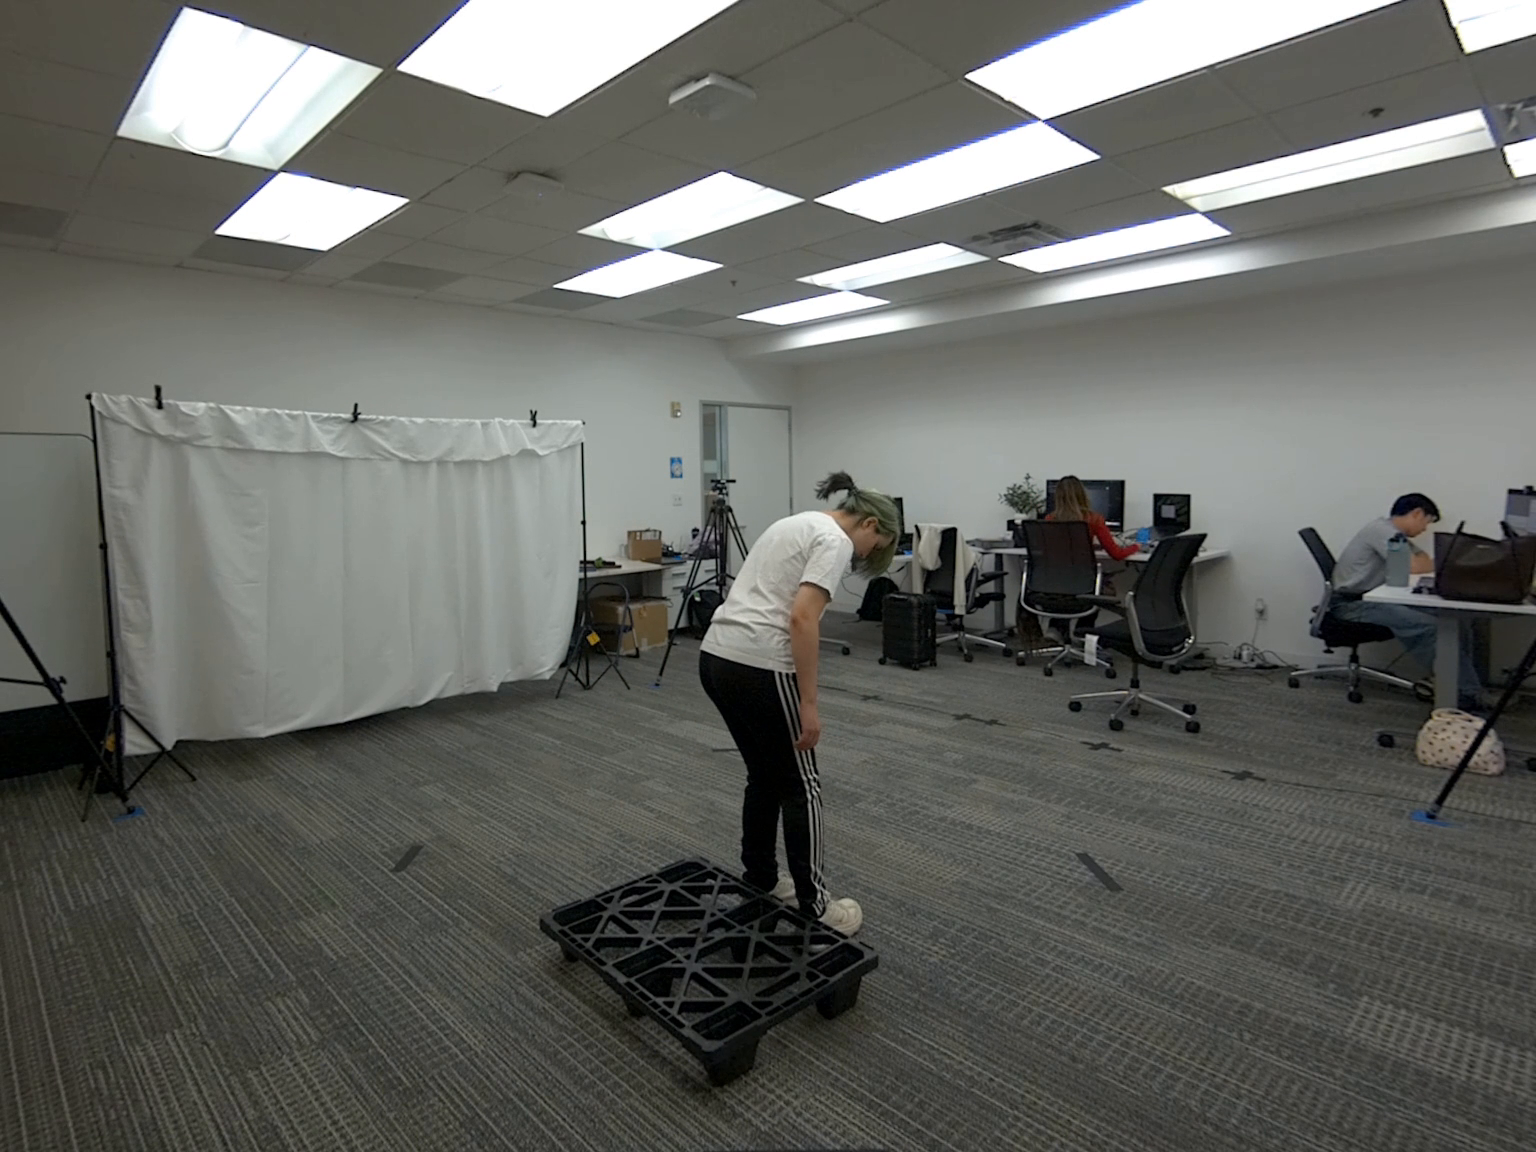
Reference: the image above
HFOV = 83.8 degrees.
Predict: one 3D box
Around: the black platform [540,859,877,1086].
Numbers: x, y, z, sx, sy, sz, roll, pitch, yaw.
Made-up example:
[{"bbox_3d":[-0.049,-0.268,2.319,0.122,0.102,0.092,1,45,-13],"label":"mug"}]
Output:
[{"bbox_3d":[-0.182,1.067,2.399,0.589,0.143,0.831,-6,8,-41],"label":"black platform"}]
